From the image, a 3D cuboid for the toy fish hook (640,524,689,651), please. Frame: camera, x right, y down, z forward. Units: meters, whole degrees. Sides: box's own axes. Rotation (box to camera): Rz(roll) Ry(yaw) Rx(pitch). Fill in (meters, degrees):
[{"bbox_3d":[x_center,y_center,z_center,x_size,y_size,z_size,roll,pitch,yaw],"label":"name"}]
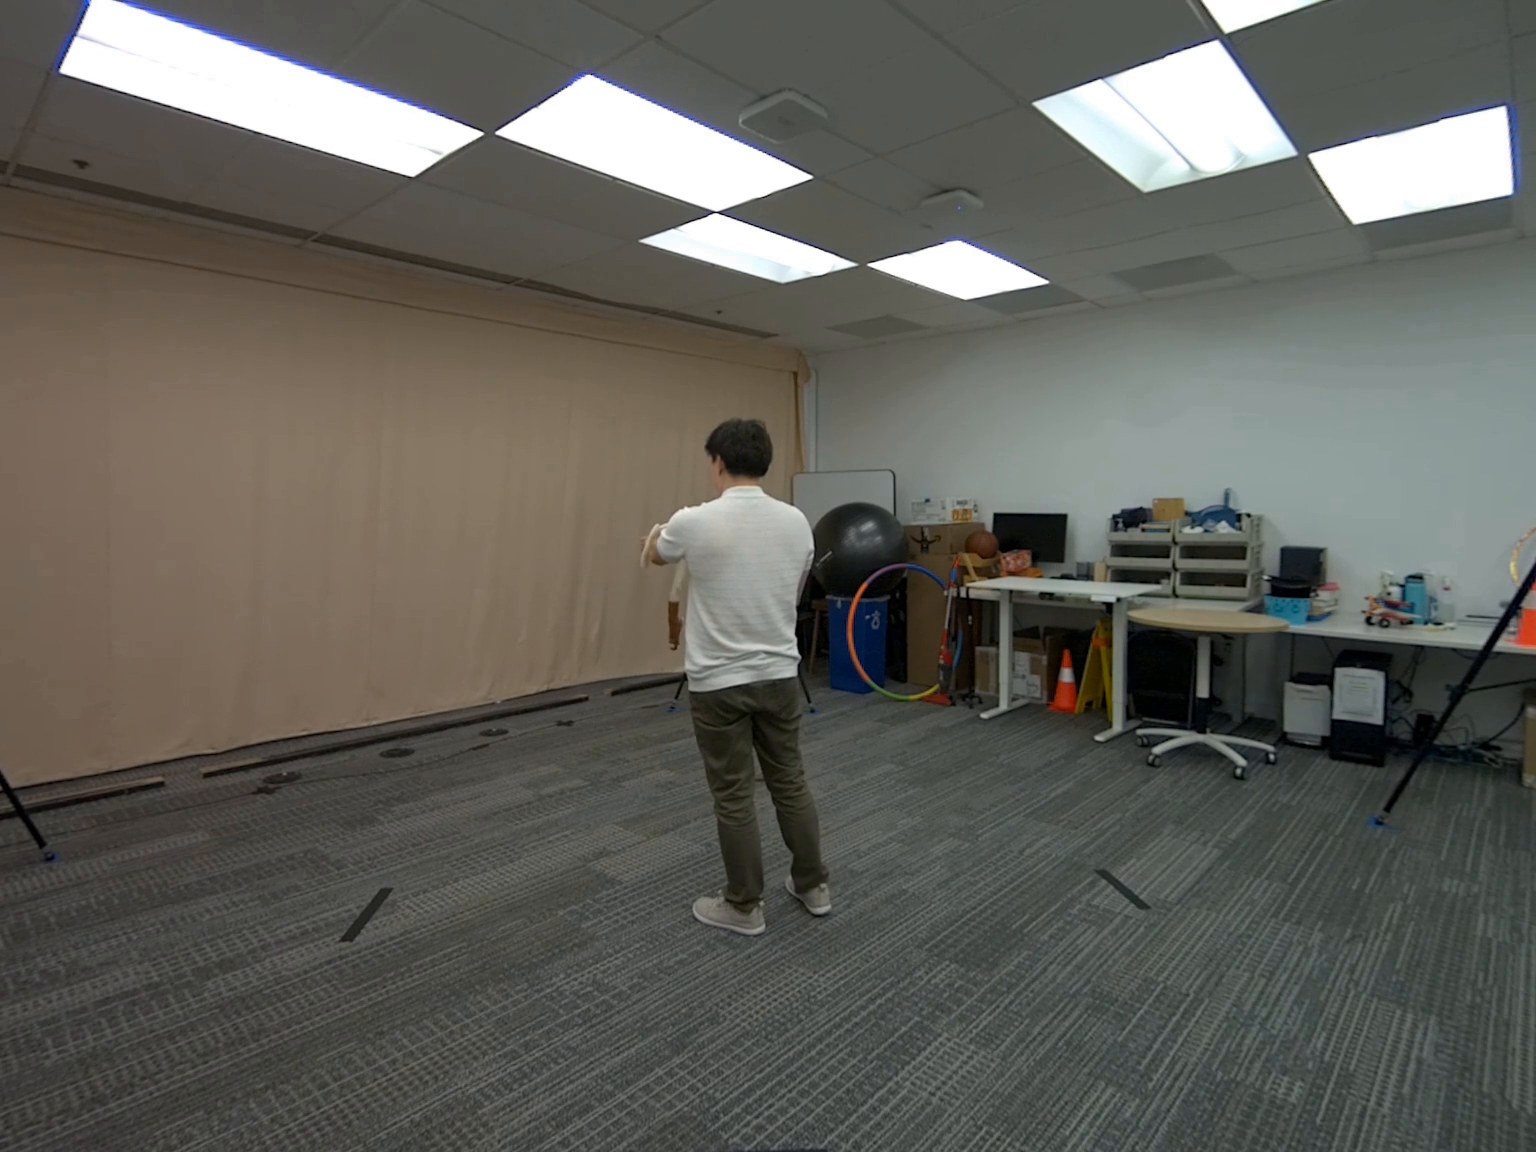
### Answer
[{"bbox_3d":[-0.397,0.056,3.191,0.218,0.503,0.050,-6,14,-37],"label":"toy fish hook"}]
